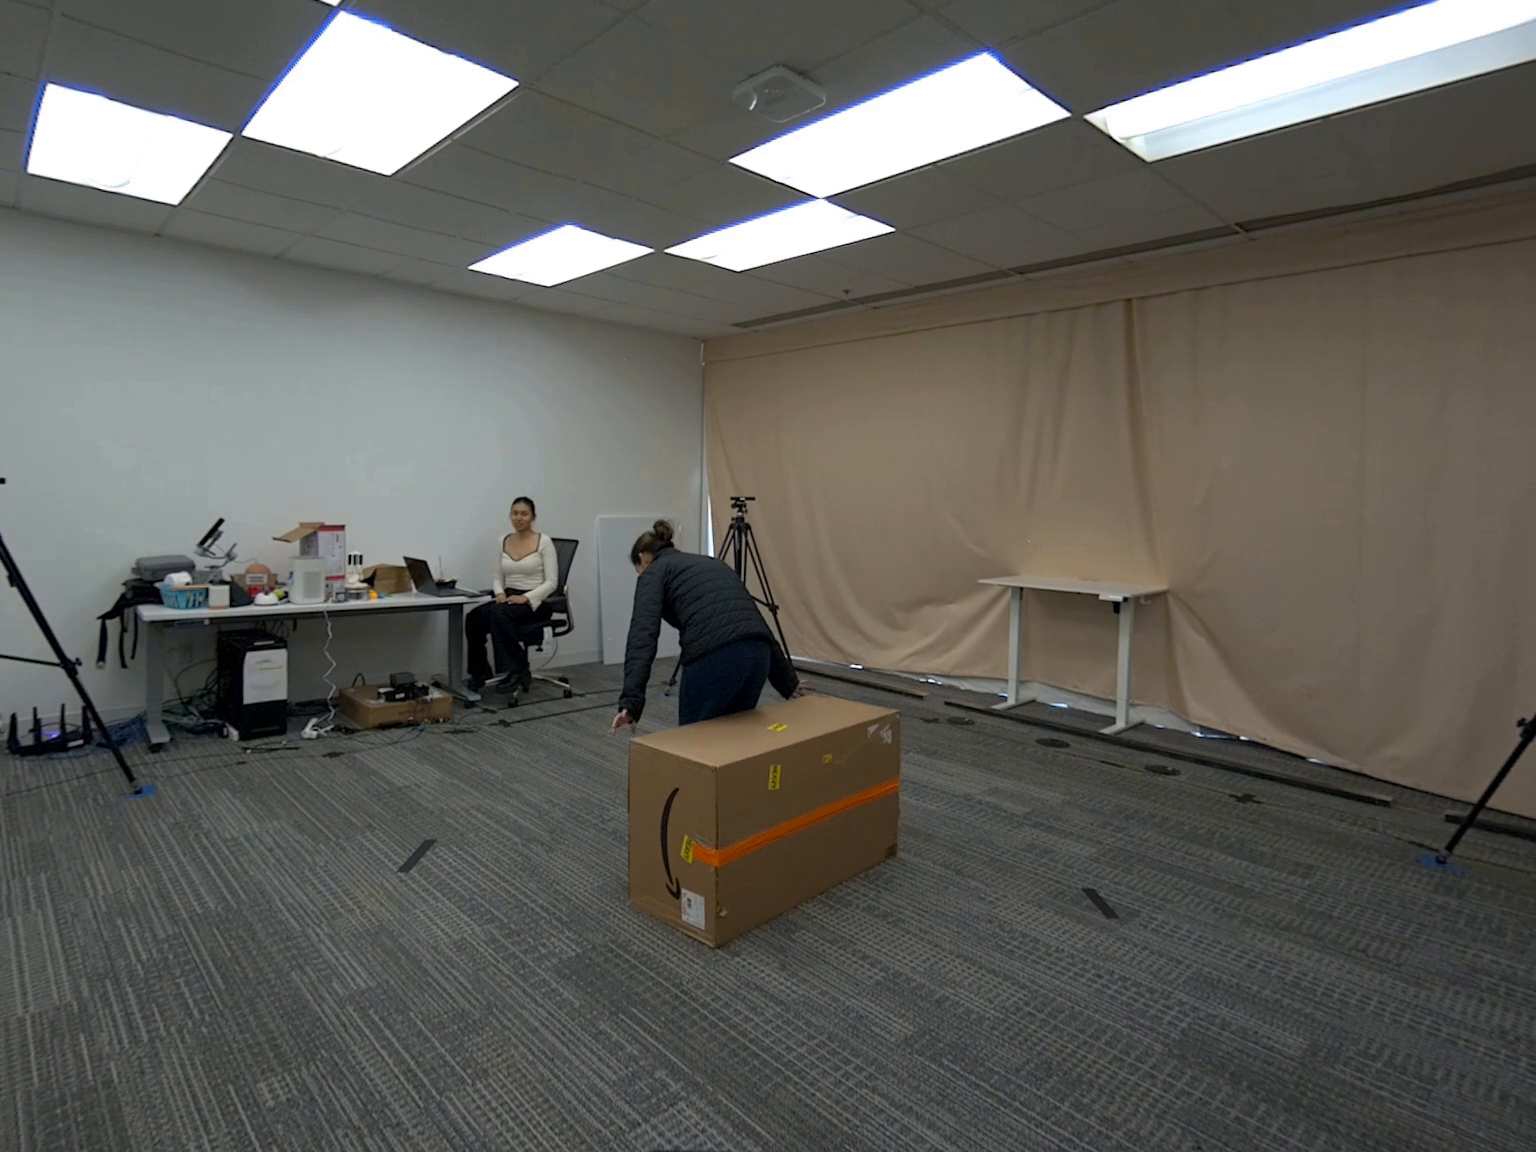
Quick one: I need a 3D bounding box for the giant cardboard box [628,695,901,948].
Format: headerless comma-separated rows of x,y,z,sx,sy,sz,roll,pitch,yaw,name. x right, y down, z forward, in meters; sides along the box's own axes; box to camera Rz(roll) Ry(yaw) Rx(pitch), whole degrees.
0.019,0.830,3.071,0.437,0.576,1.003,3,5,42,giant cardboard box
